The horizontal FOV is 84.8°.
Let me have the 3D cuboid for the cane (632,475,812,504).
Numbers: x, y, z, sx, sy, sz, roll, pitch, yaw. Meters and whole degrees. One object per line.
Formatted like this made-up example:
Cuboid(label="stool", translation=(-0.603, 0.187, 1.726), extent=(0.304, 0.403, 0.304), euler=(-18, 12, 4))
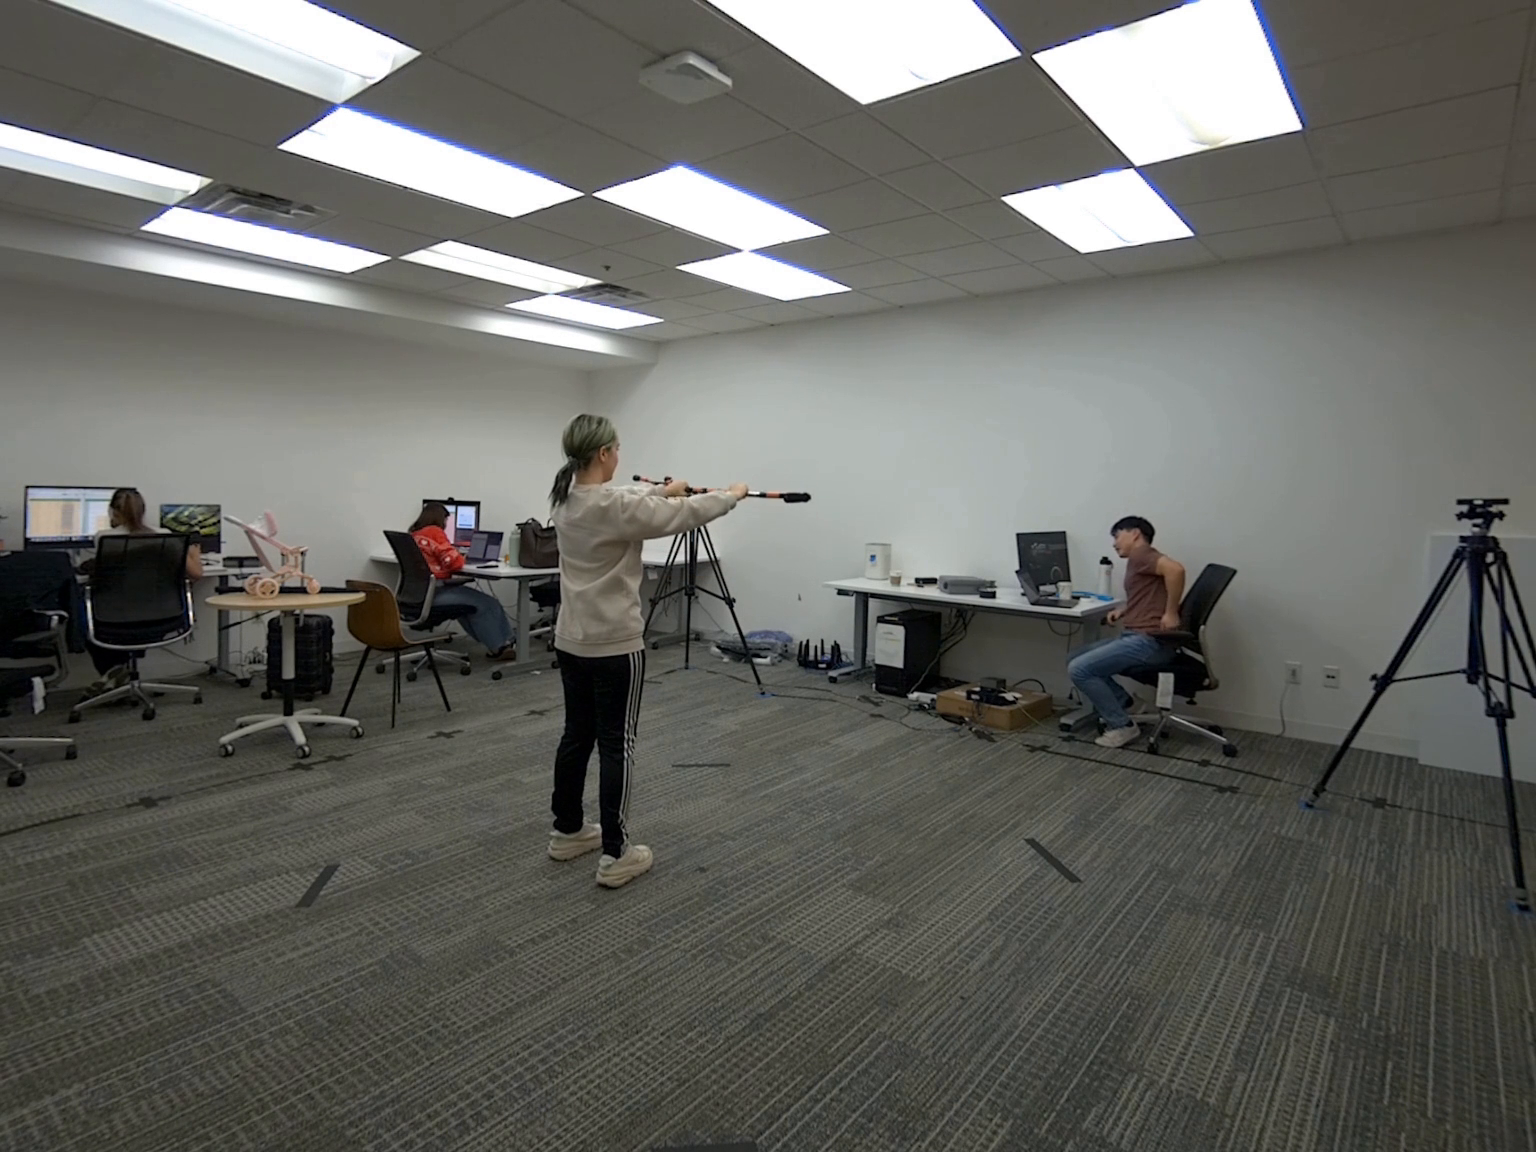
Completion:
Cuboid(label="cane", translation=(-0.199, -0.327, 3.415), extent=(0.200, 0.151, 0.940), euler=(-3, 8, -45))
